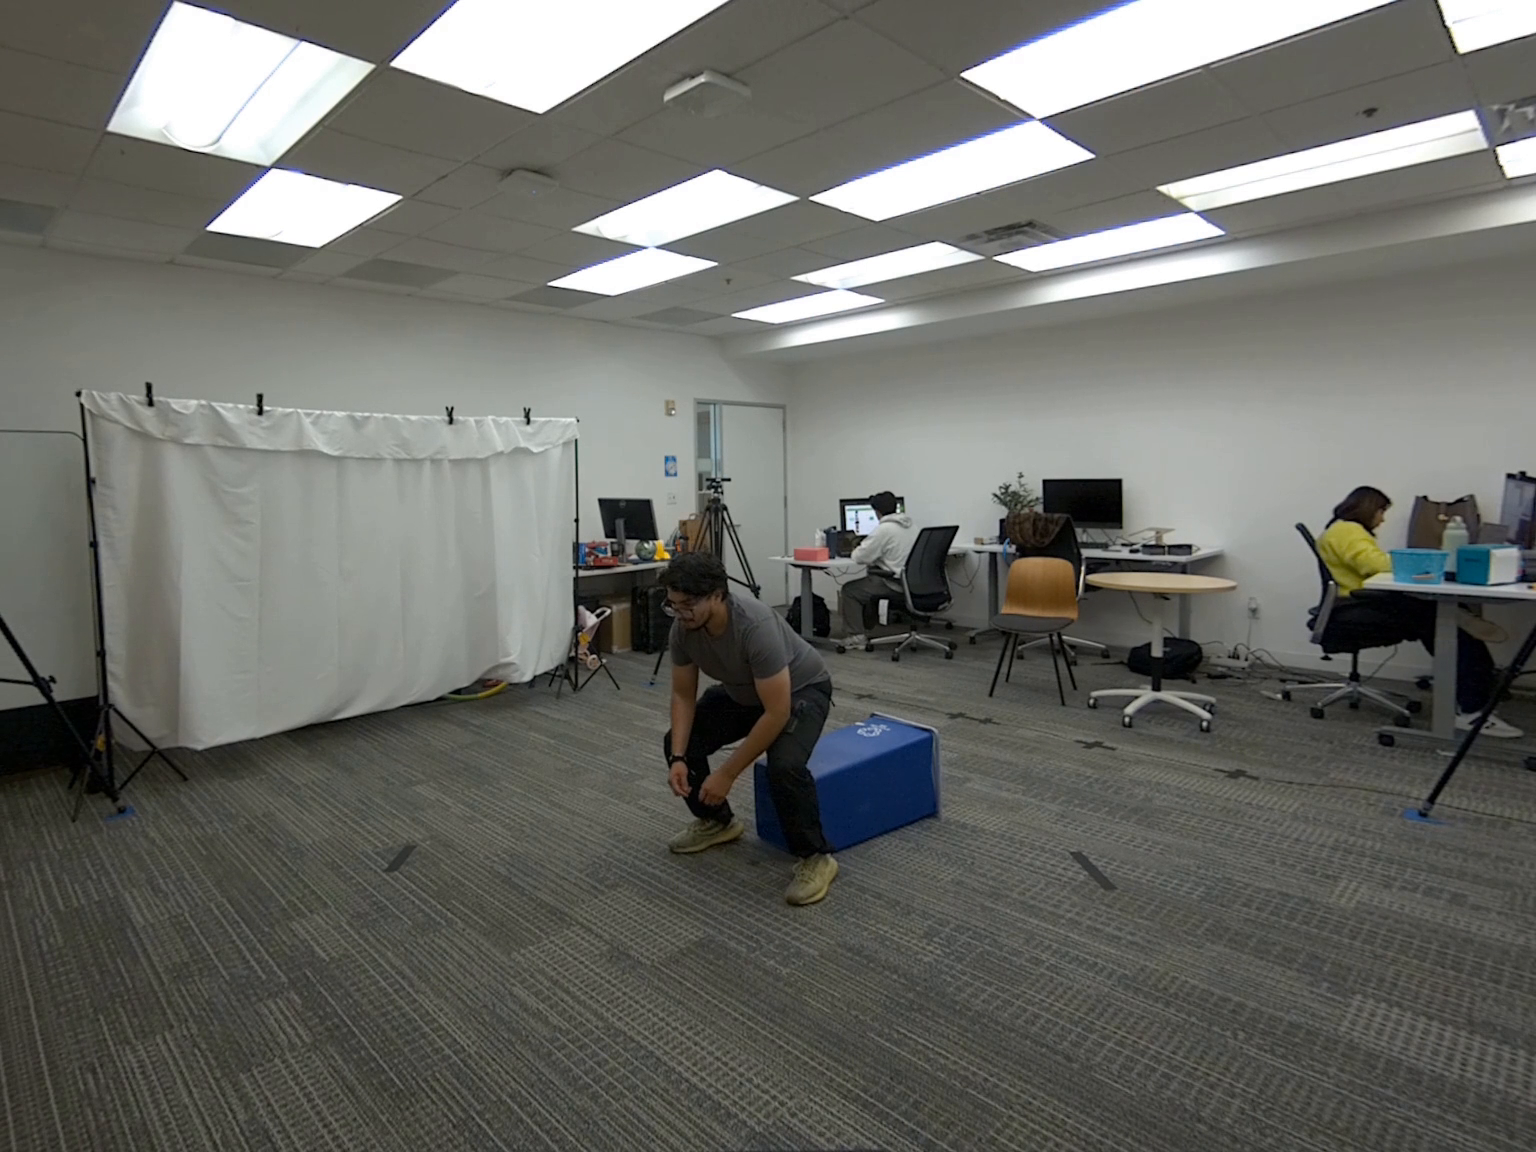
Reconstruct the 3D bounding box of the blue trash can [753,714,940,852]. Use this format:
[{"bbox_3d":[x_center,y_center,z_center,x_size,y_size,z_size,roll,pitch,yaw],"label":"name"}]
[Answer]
[{"bbox_3d":[0.321,0.825,3.408,0.696,0.372,0.389,-8,8,-39],"label":"blue trash can"}]
